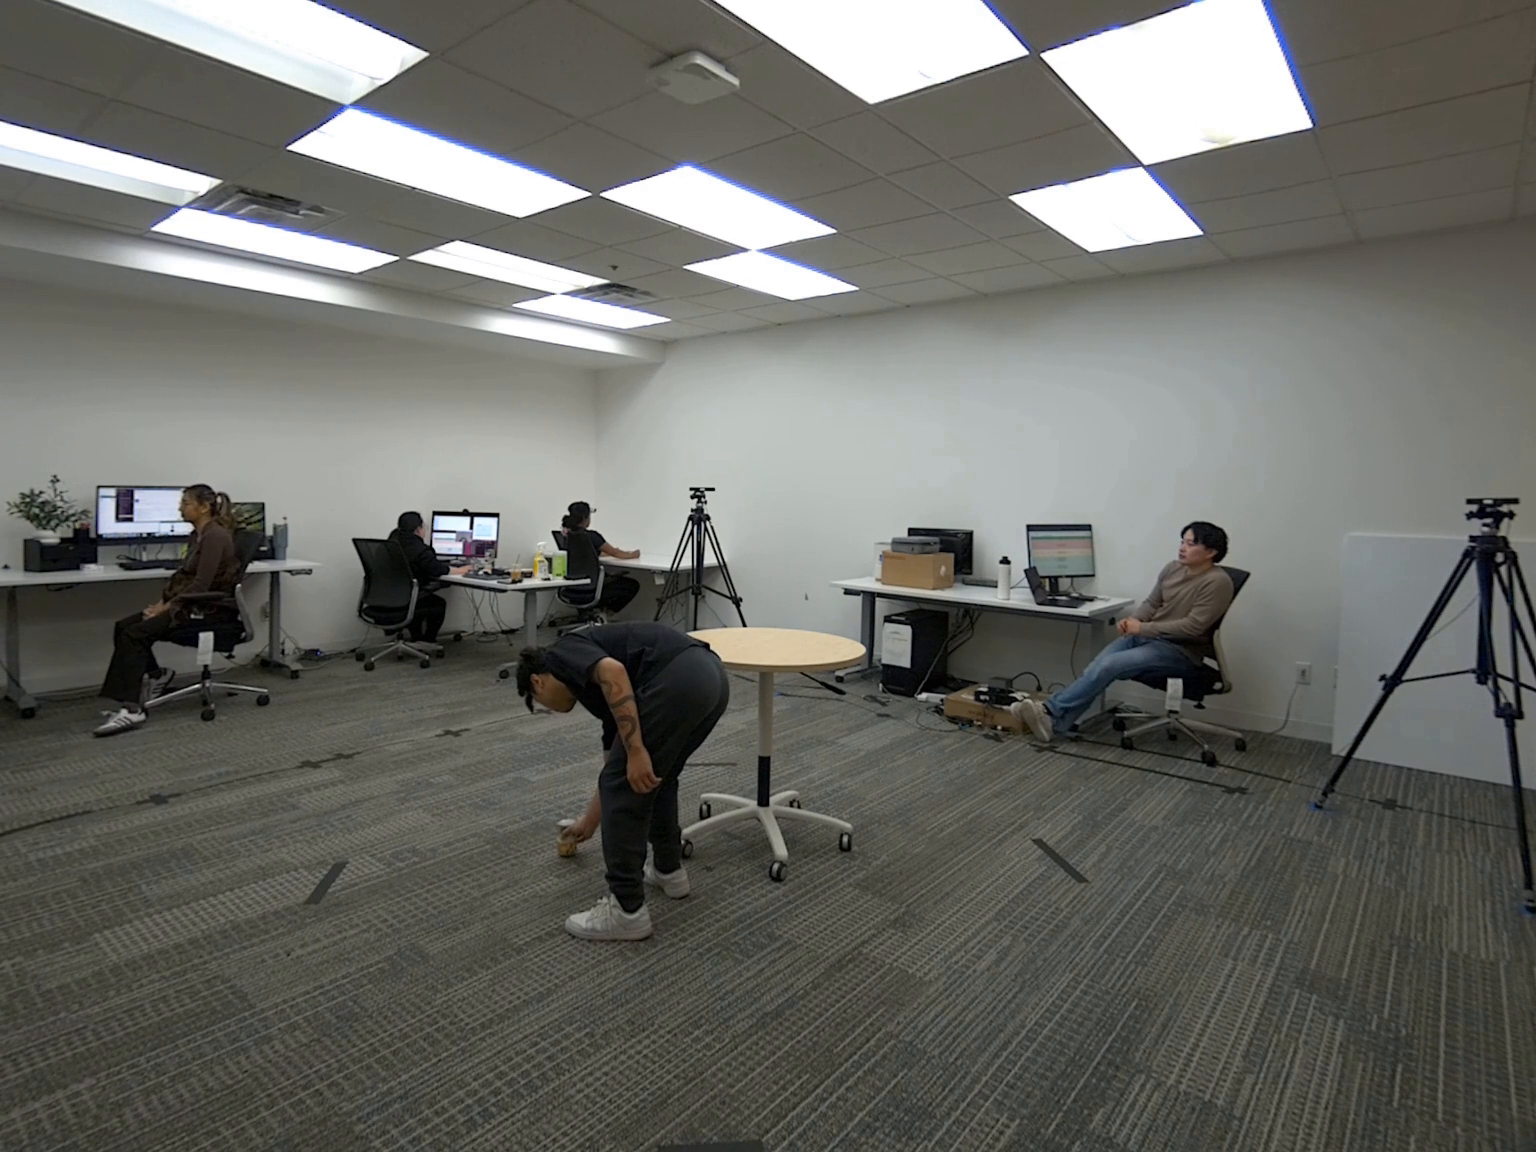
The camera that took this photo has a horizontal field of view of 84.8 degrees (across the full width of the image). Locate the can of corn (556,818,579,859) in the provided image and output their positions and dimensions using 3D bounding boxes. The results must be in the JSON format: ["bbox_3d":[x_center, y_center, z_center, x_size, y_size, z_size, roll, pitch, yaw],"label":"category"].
[{"bbox_3d":[-0.771,0.983,3.205,0.074,0.110,0.074,0,4,-2],"label":"can of corn"}]
